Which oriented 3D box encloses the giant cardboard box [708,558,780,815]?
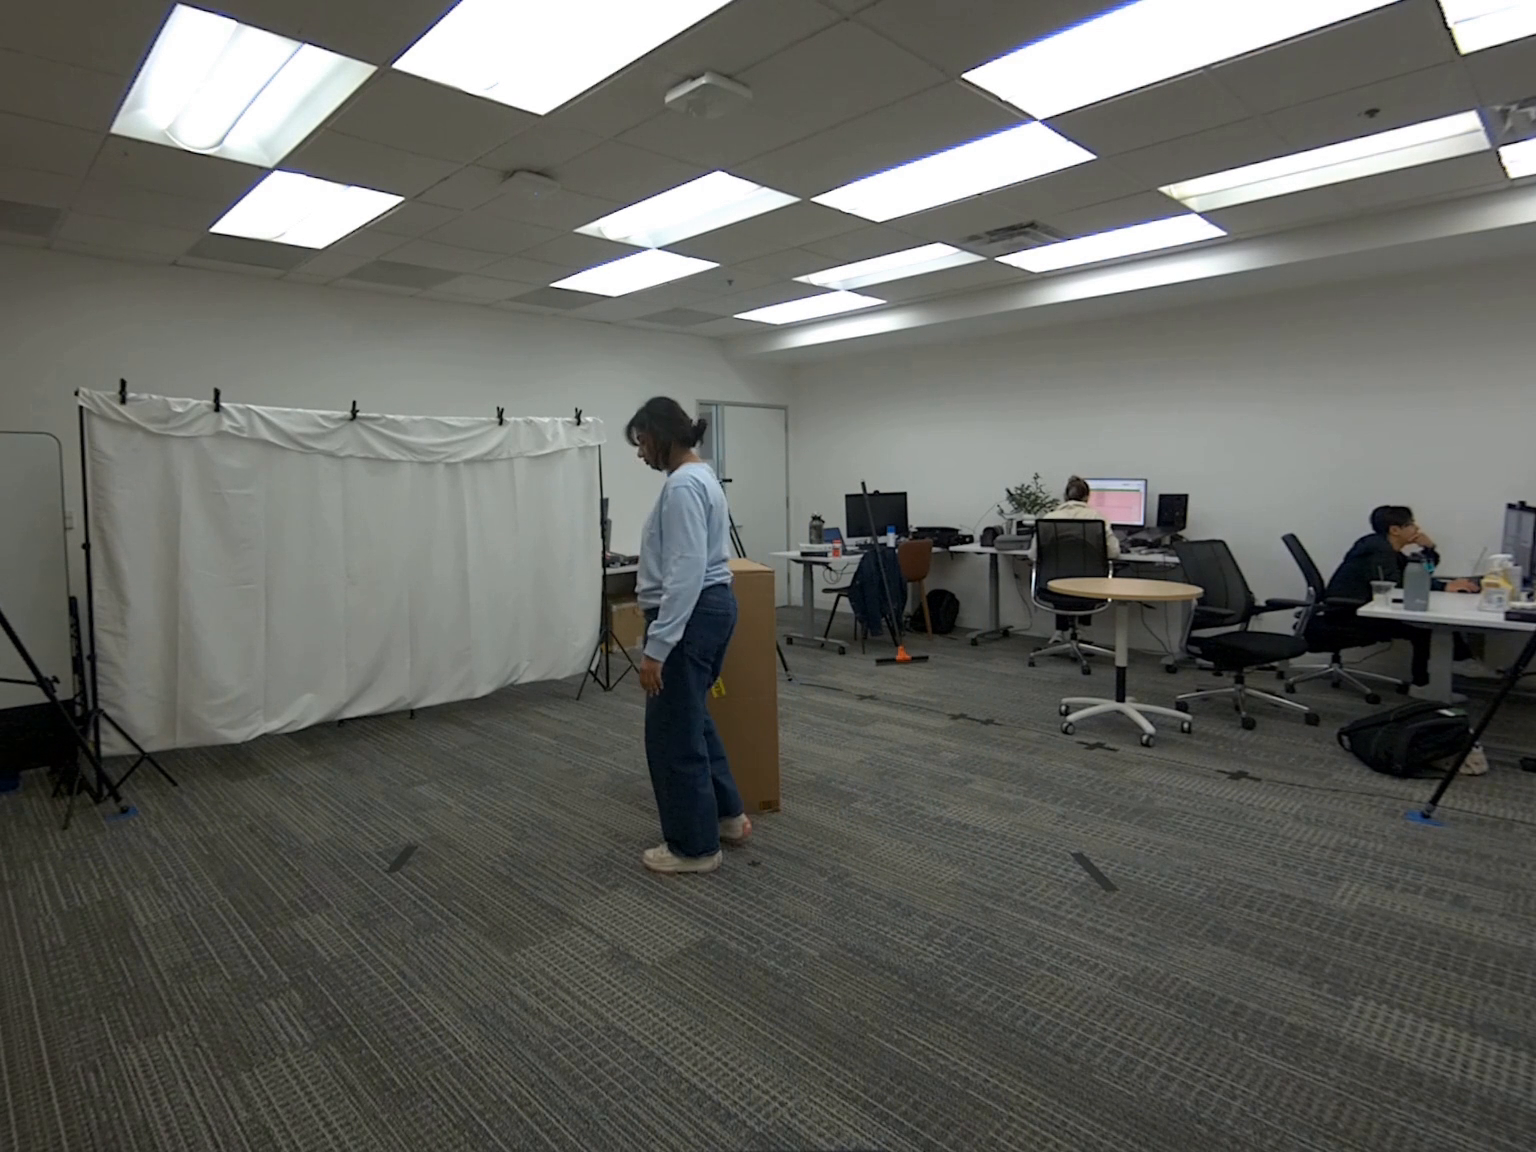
[{"bbox_3d":[-0.226,0.460,3.809,0.443,1.024,0.591,-2,4,-11],"label":"giant cardboard box"}]
